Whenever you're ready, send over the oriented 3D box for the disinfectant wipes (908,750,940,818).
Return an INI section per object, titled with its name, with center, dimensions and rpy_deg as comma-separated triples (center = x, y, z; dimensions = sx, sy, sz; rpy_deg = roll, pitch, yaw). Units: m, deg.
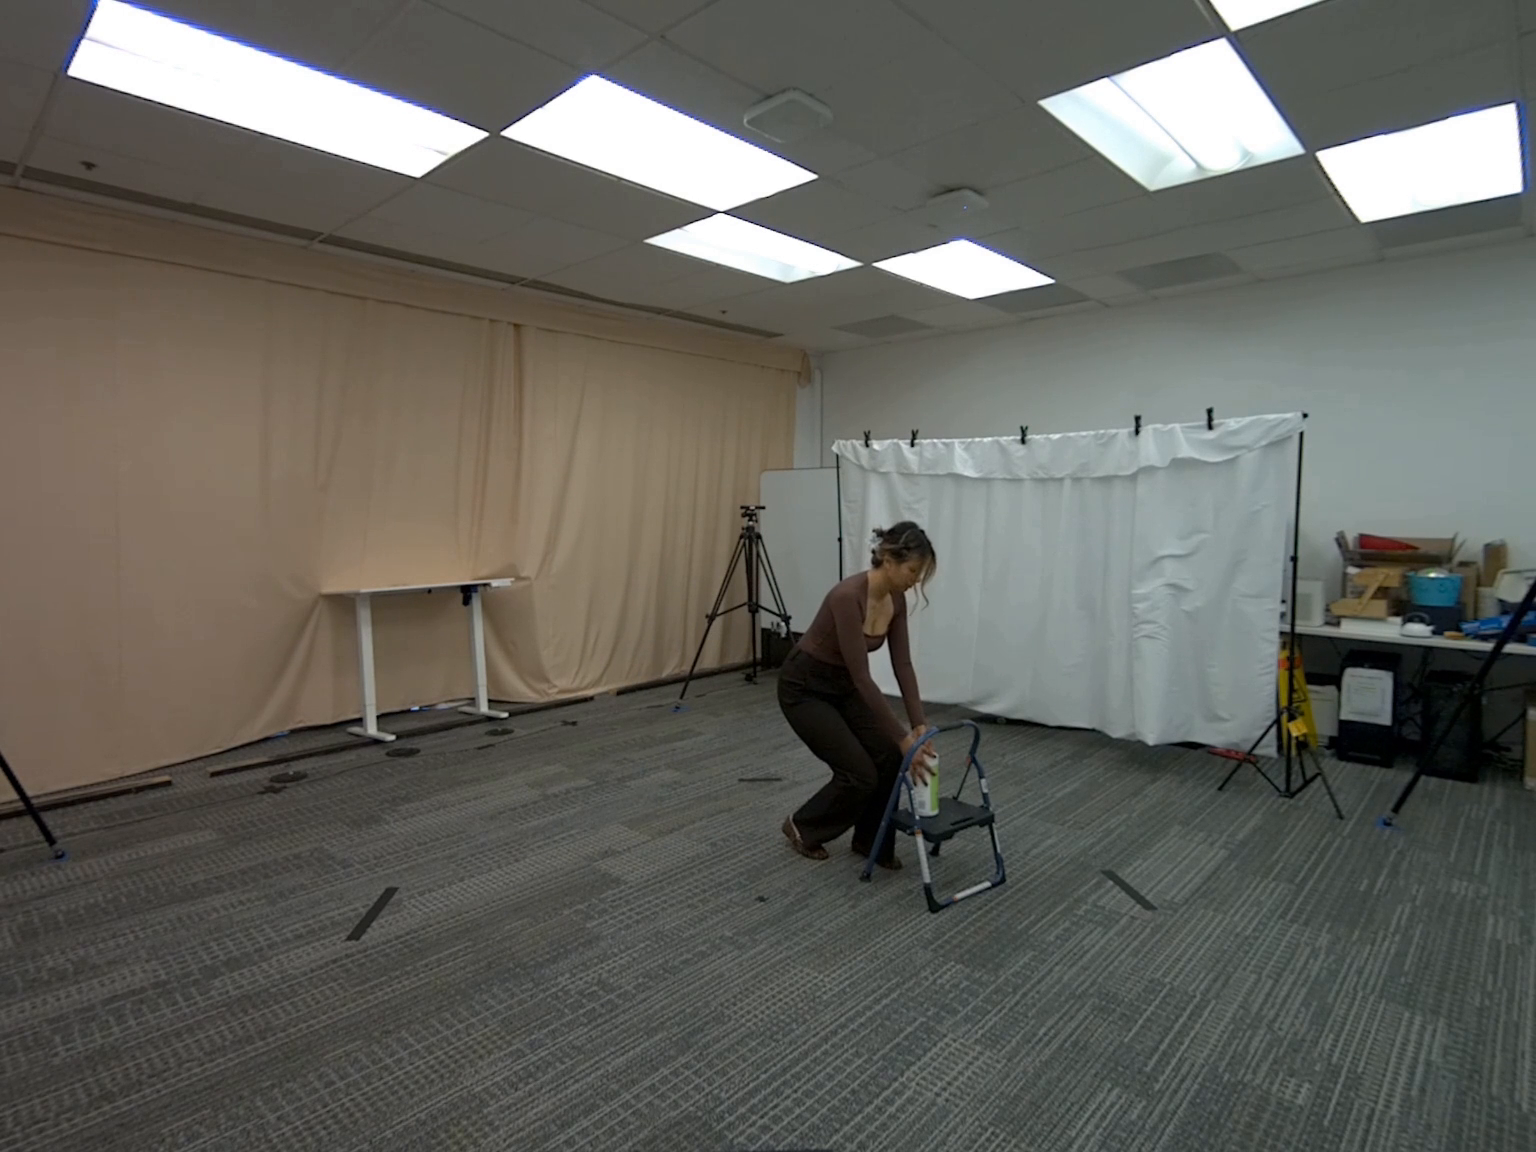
[disinfectant wipes]
center = 0.582, 0.773, 3.098
dimensions = 0.118, 0.217, 0.118
rpy_deg = 0, 0, -2
